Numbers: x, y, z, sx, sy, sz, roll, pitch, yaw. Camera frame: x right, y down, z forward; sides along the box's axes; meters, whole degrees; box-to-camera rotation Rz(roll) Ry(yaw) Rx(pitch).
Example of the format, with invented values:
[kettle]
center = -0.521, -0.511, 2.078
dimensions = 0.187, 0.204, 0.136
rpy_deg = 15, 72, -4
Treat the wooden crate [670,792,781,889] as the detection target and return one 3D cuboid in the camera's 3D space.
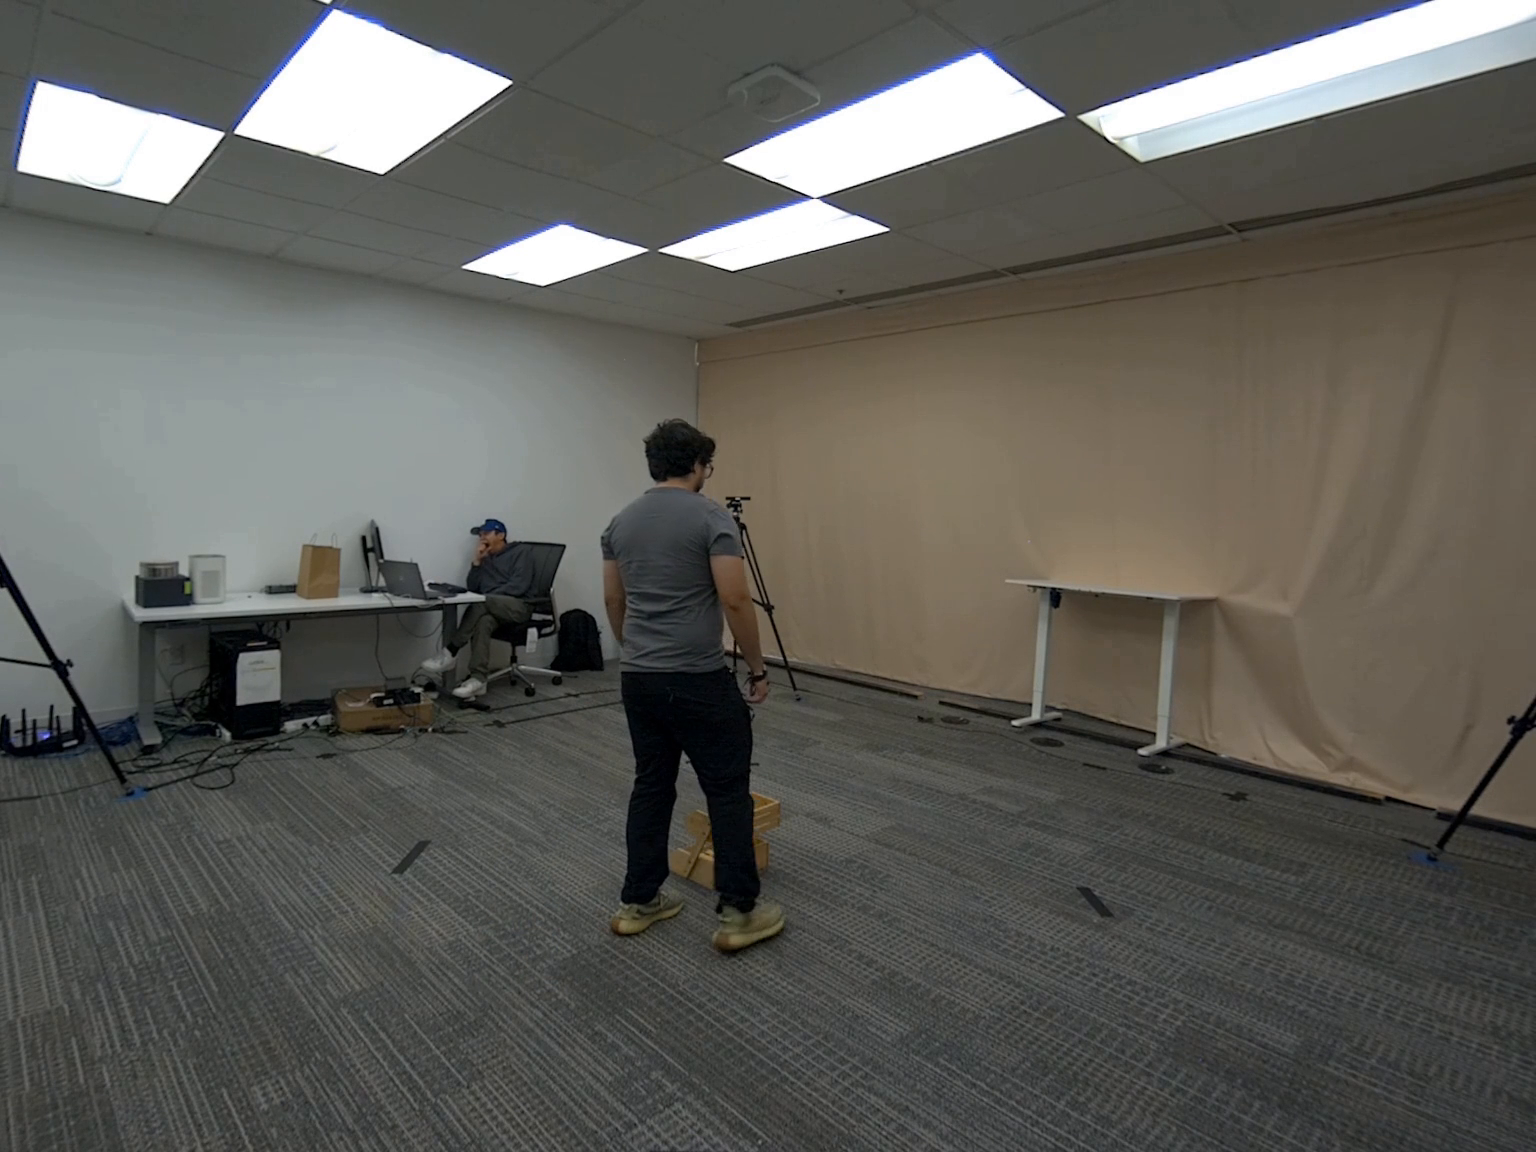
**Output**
[wooden crate]
center = -0.175, 0.969, 3.155
dimensions = 0.310, 0.272, 0.317
rpy_deg = 6, 6, 42
